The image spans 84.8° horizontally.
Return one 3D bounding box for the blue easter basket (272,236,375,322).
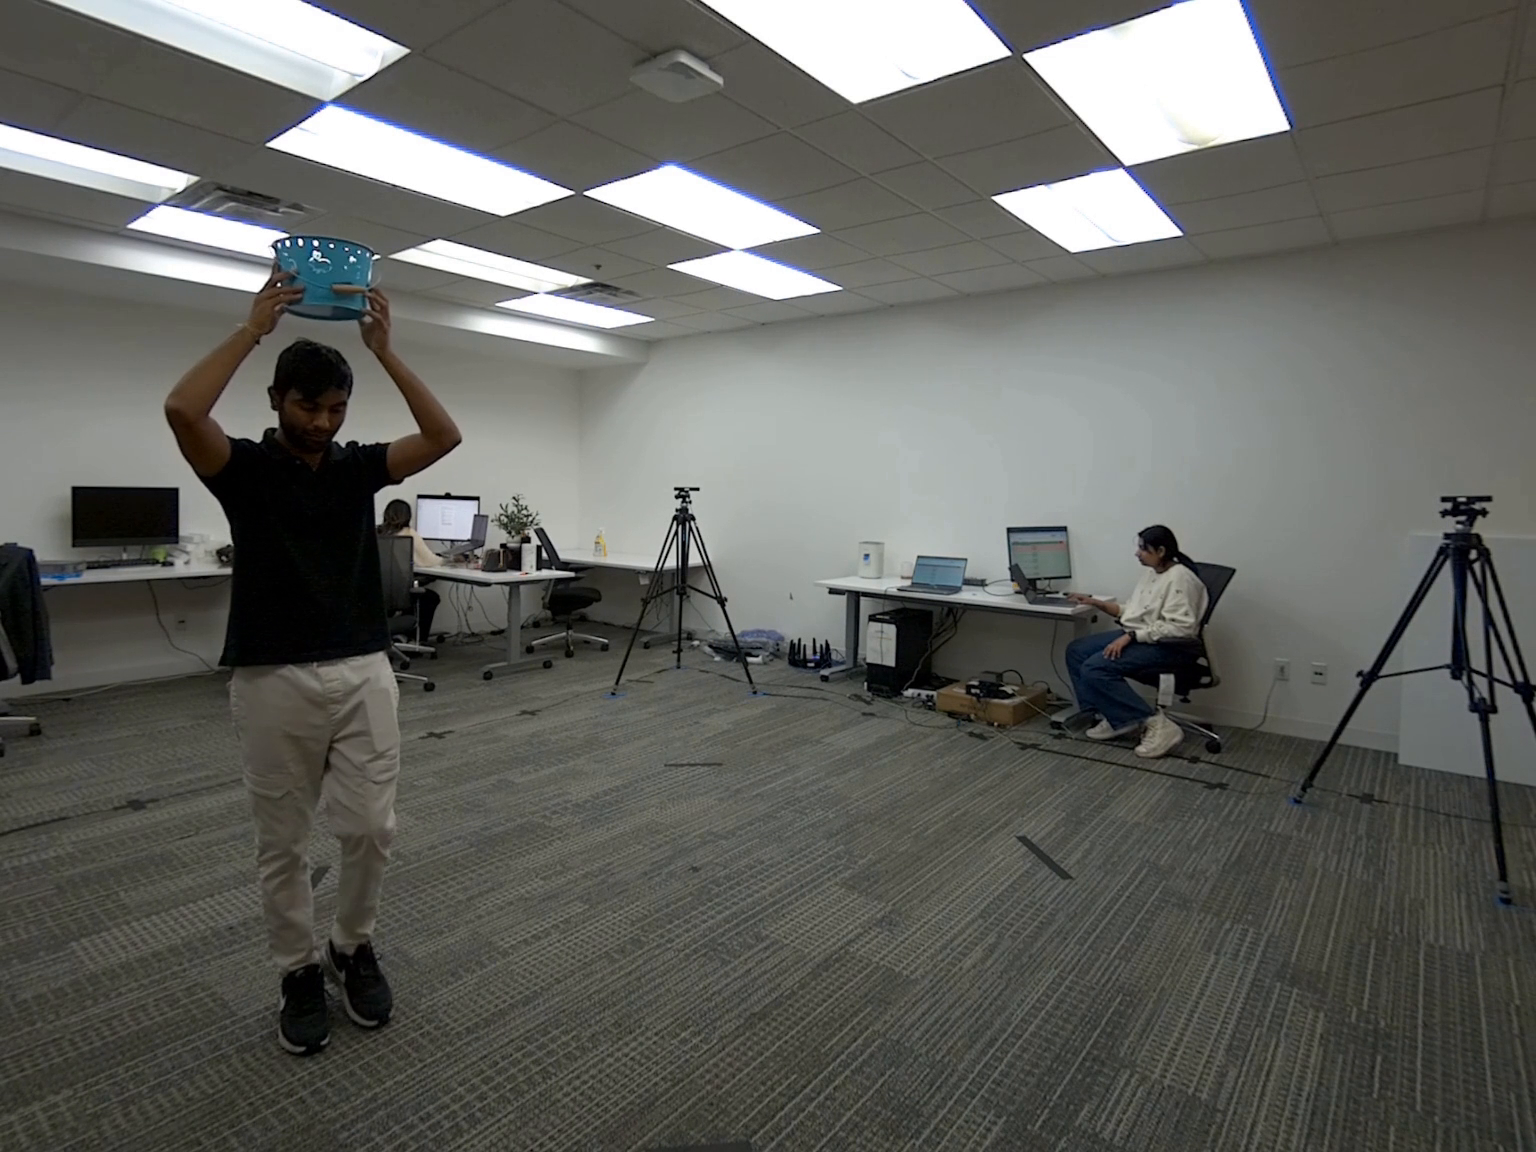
[{"bbox_3d":[-1.084,-0.717,2.039,0.243,0.155,0.245,-1,4,-2],"label":"blue easter basket"}]
